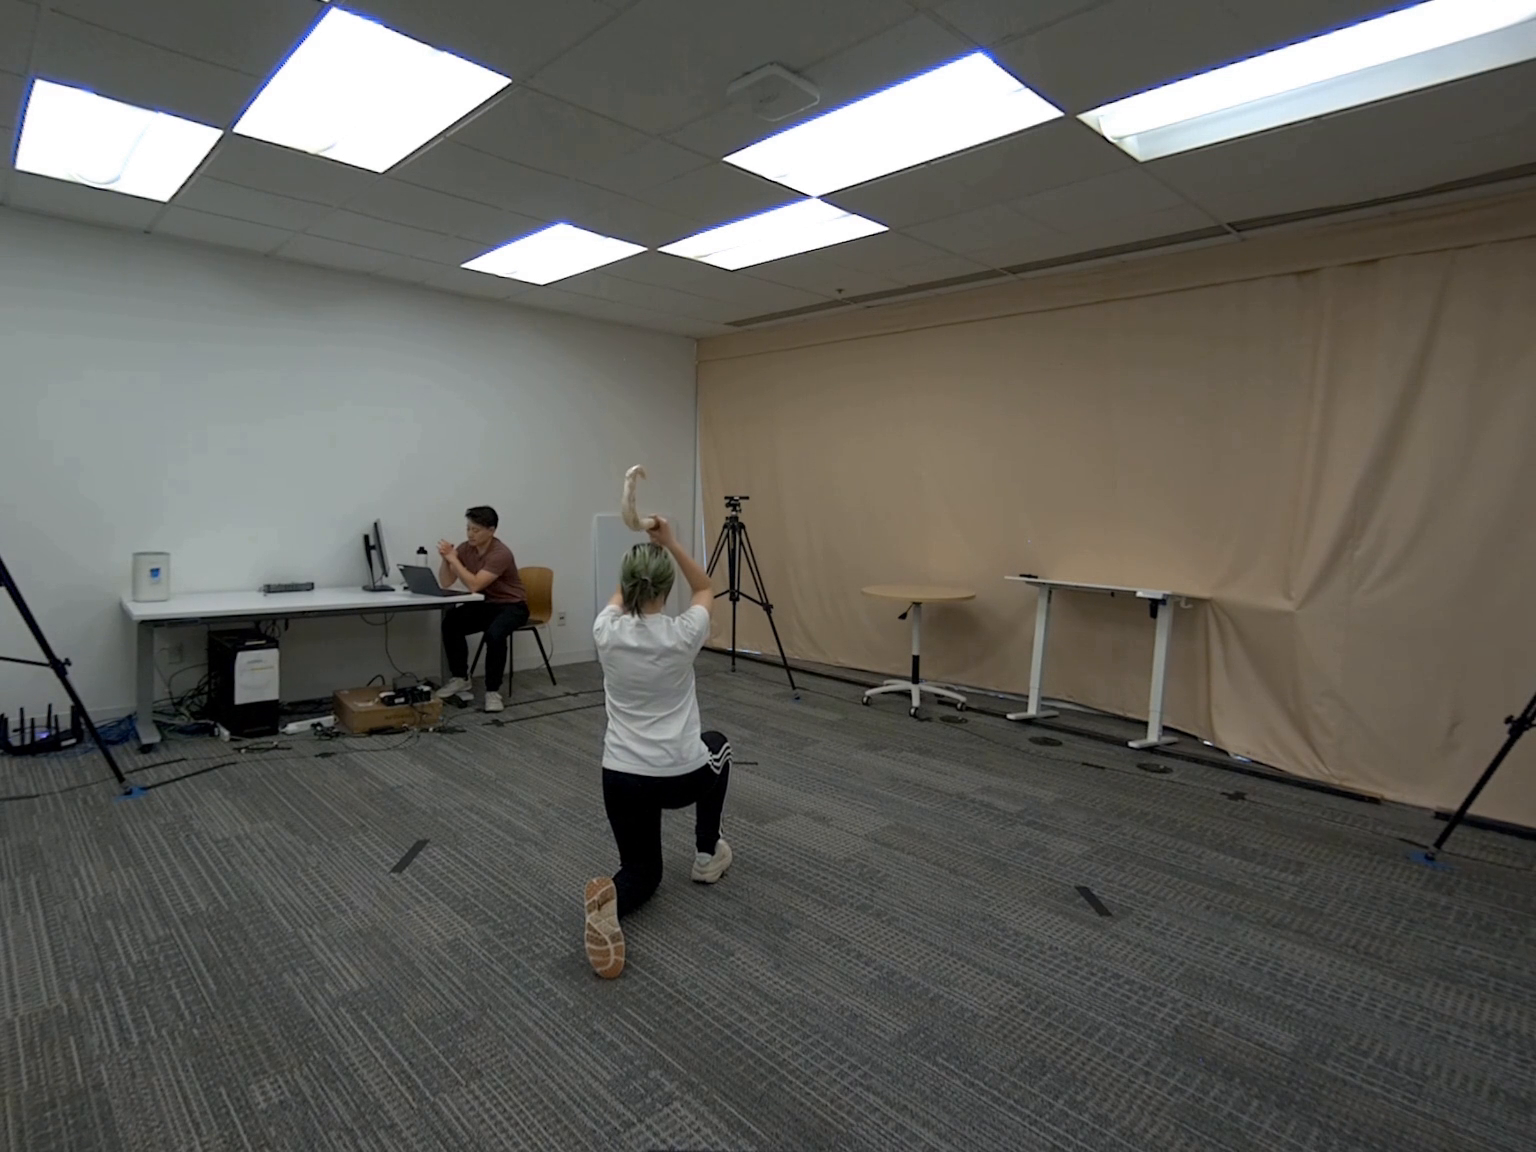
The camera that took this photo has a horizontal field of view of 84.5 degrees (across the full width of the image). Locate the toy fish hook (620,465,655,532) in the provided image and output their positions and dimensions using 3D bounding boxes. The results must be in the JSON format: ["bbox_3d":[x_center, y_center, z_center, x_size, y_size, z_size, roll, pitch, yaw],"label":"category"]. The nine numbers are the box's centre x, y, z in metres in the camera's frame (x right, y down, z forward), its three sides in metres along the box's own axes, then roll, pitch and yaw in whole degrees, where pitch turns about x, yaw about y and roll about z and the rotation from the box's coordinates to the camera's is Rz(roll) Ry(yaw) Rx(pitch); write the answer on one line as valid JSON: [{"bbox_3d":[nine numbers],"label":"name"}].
[{"bbox_3d":[-0.423,-0.245,2.914,0.049,0.226,0.500,5,-7,8],"label":"toy fish hook"}]
